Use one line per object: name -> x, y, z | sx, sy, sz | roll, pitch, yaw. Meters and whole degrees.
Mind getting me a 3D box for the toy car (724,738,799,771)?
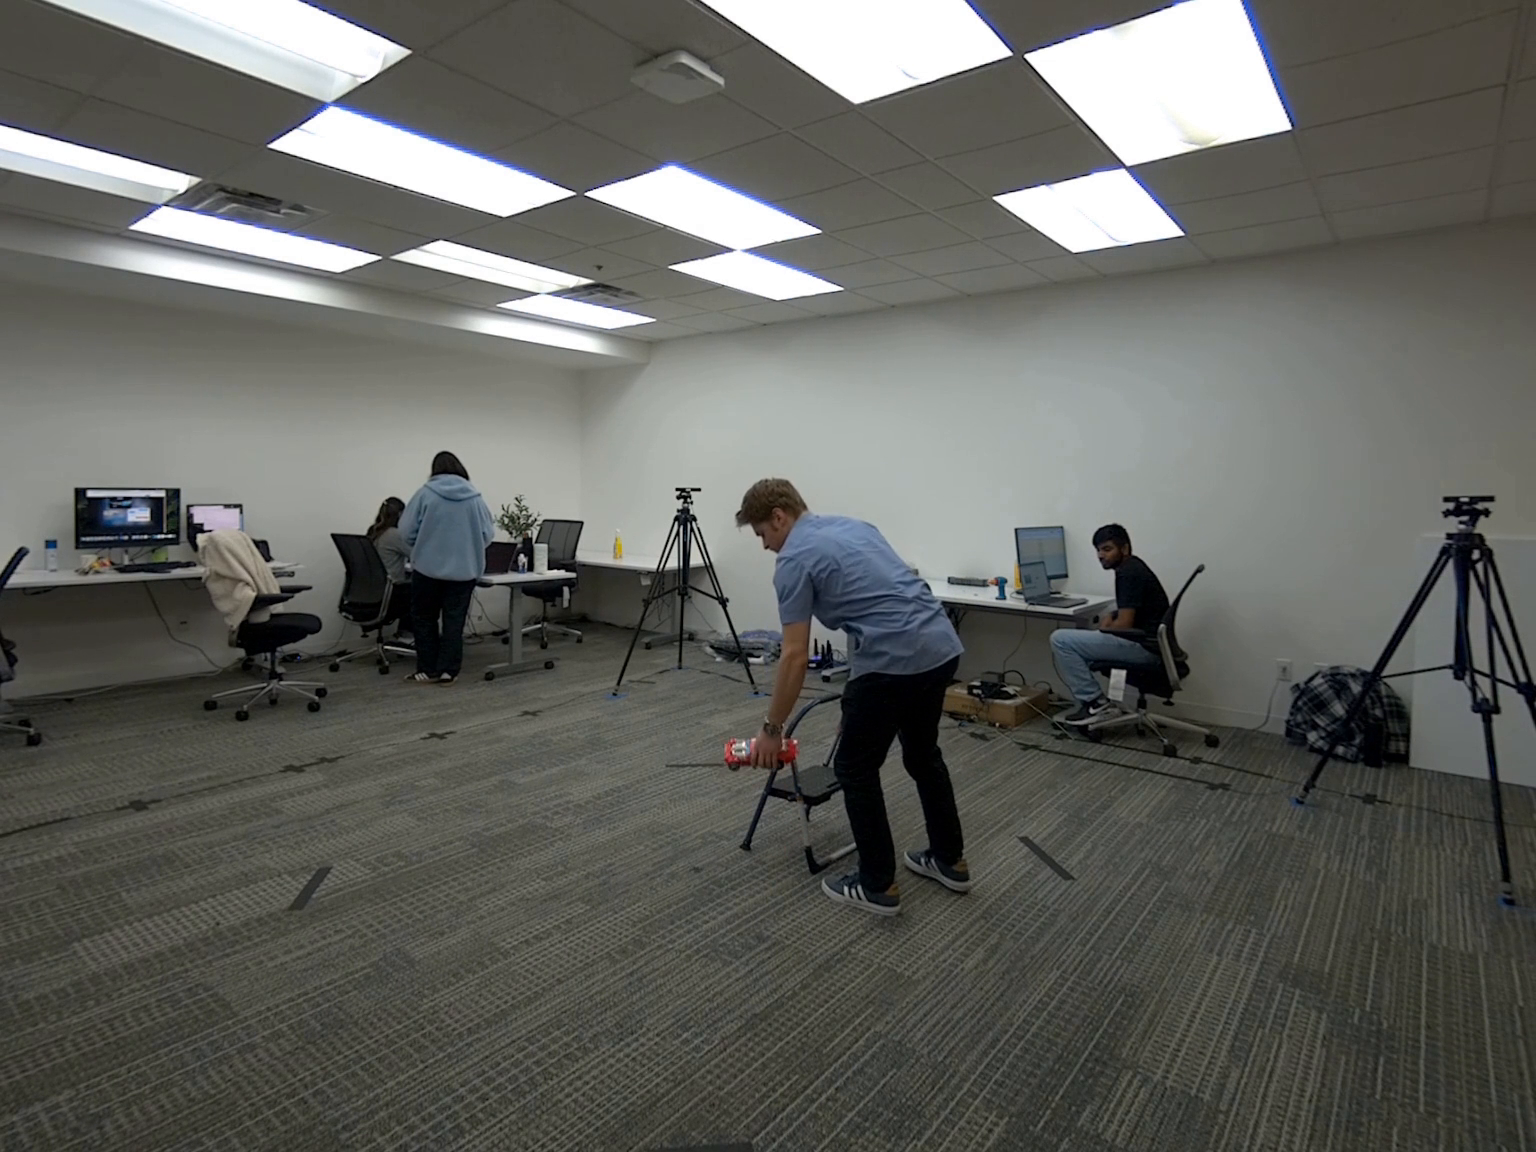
toy car -> -0.035, 0.631, 2.920 | 0.252, 0.082, 0.134 | -5, 18, -10
